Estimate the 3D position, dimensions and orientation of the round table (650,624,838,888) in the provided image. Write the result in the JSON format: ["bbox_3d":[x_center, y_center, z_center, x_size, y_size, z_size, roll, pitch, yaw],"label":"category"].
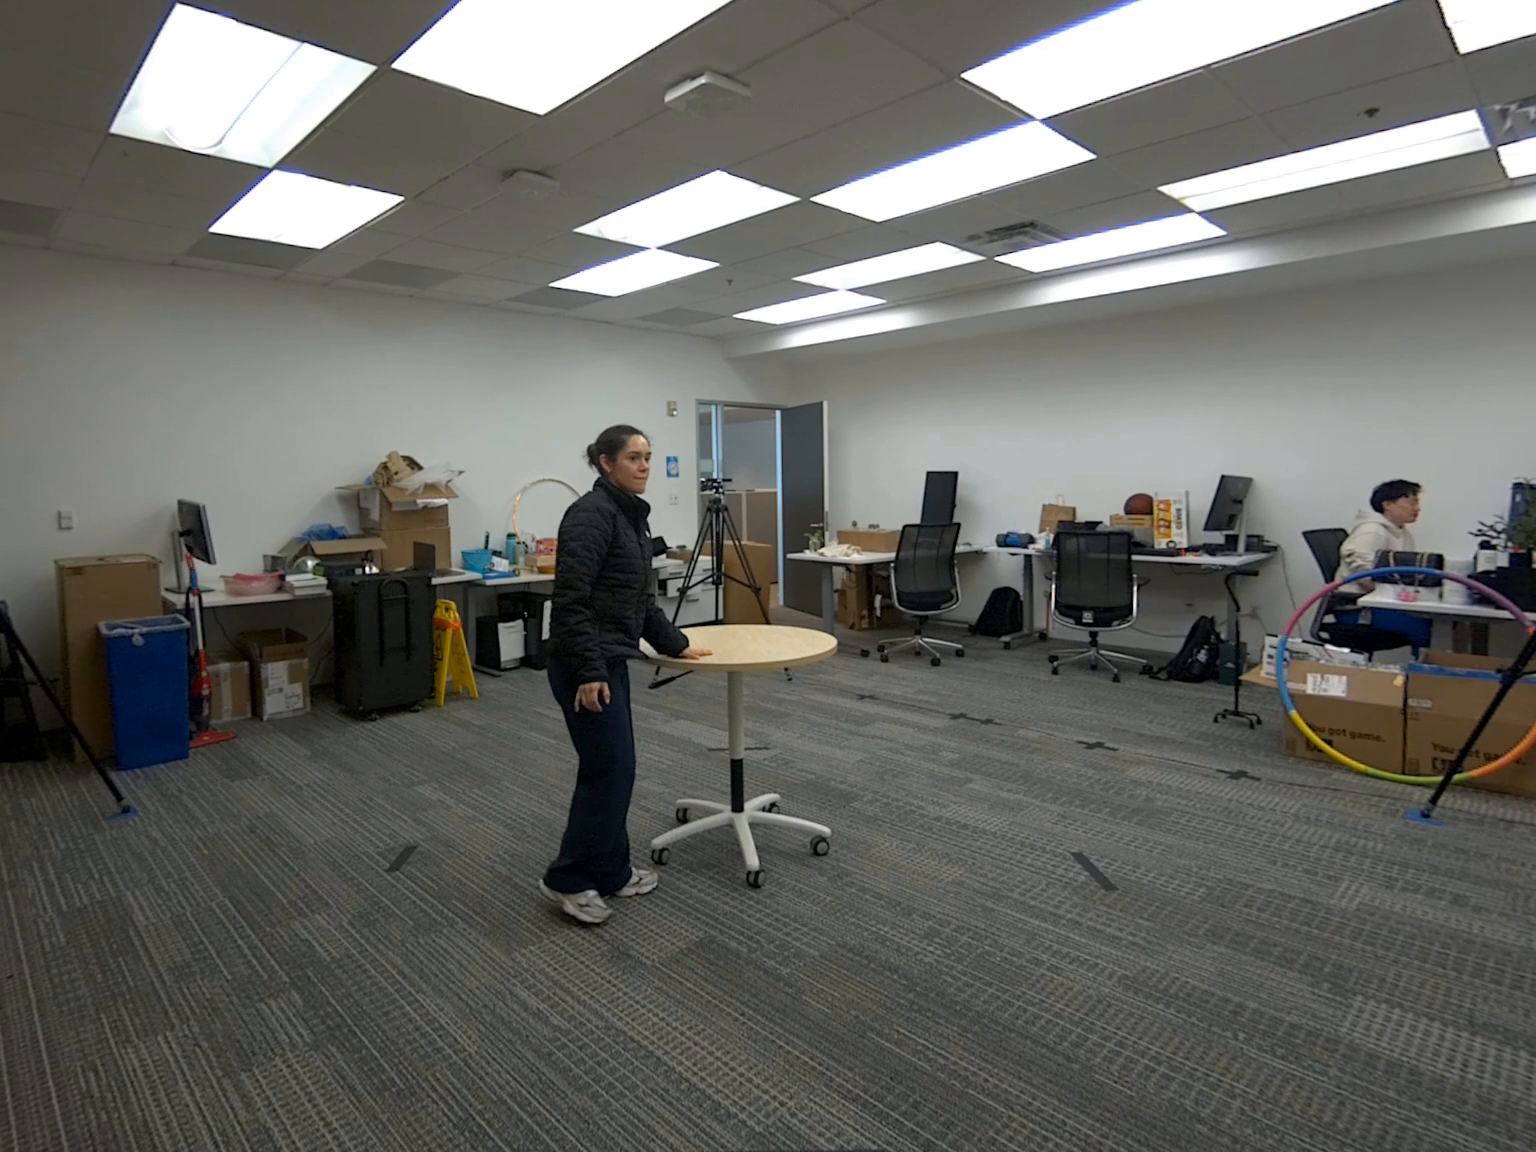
[{"bbox_3d":[-0.121,0.635,3.227,0.784,0.784,0.788,-1,4,-2],"label":"round table"}]
